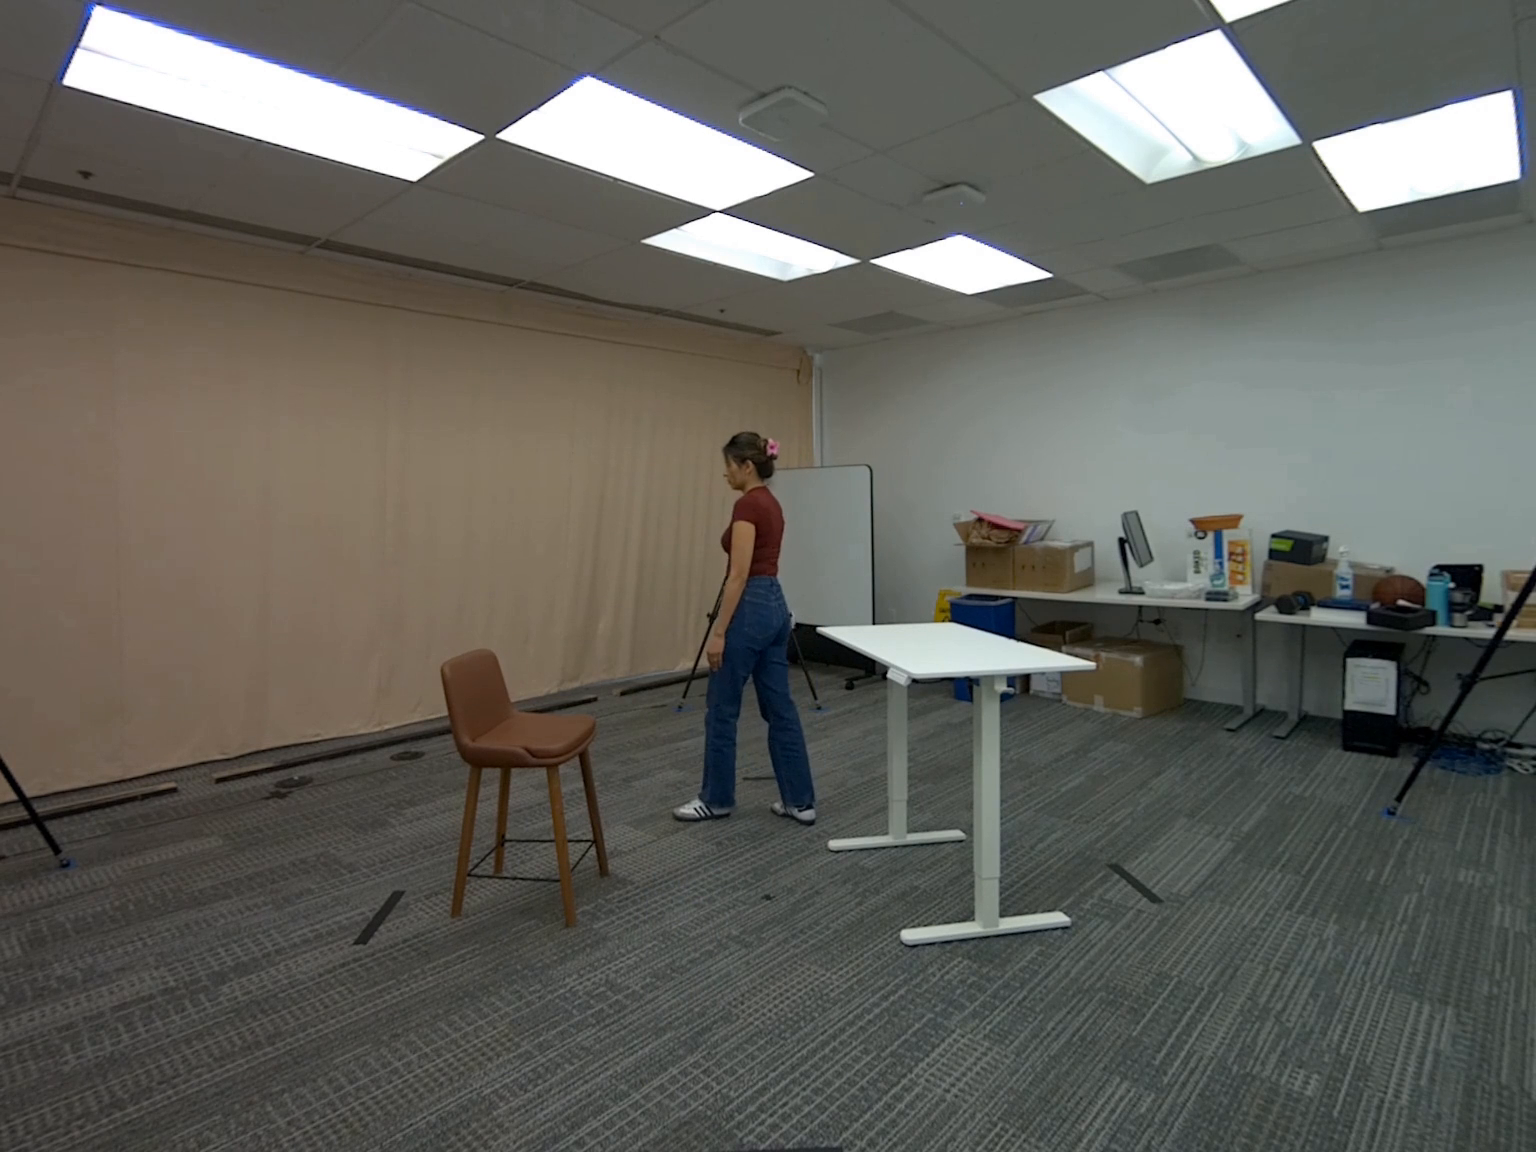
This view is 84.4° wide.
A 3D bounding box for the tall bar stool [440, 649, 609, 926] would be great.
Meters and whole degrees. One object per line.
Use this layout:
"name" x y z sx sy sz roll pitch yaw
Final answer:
"tall bar stool" -0.863 0.728 3.016 0.472 0.888 0.453 -2 3 9
